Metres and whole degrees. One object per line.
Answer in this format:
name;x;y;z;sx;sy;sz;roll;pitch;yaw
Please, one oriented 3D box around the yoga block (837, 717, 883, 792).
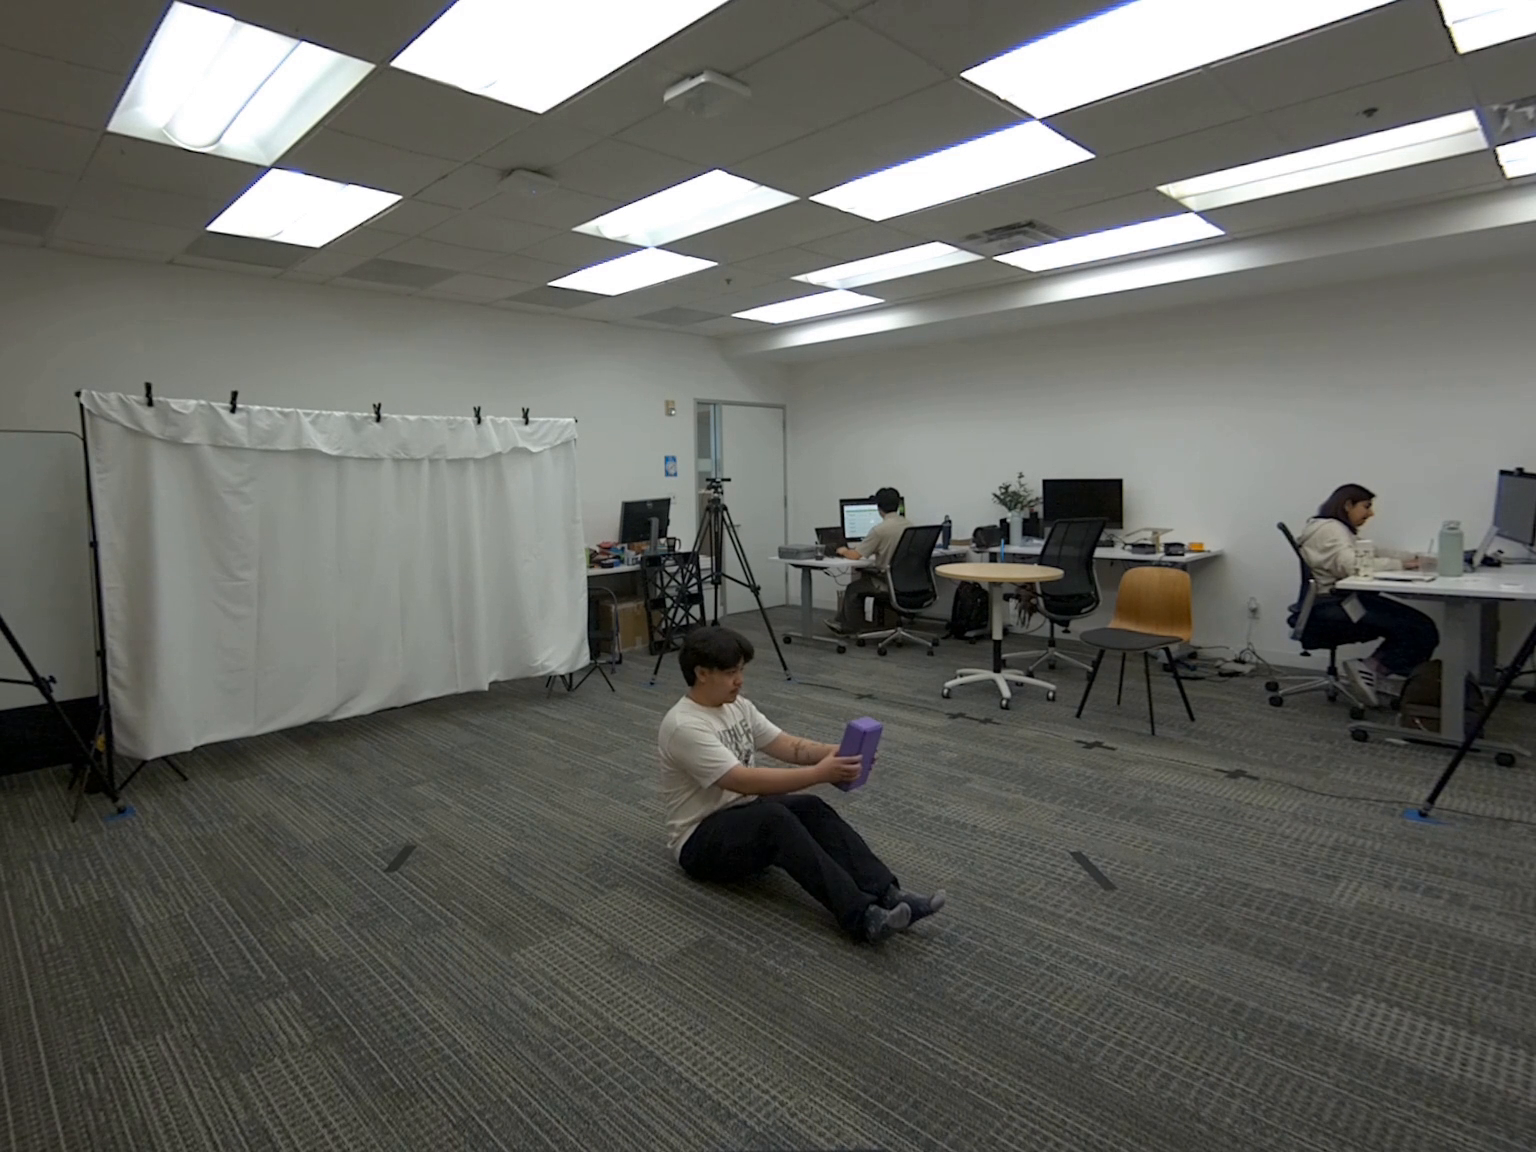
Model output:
yoga block;0.297;0.604;2.889;0.079;0.228;0.145;18;9;31
